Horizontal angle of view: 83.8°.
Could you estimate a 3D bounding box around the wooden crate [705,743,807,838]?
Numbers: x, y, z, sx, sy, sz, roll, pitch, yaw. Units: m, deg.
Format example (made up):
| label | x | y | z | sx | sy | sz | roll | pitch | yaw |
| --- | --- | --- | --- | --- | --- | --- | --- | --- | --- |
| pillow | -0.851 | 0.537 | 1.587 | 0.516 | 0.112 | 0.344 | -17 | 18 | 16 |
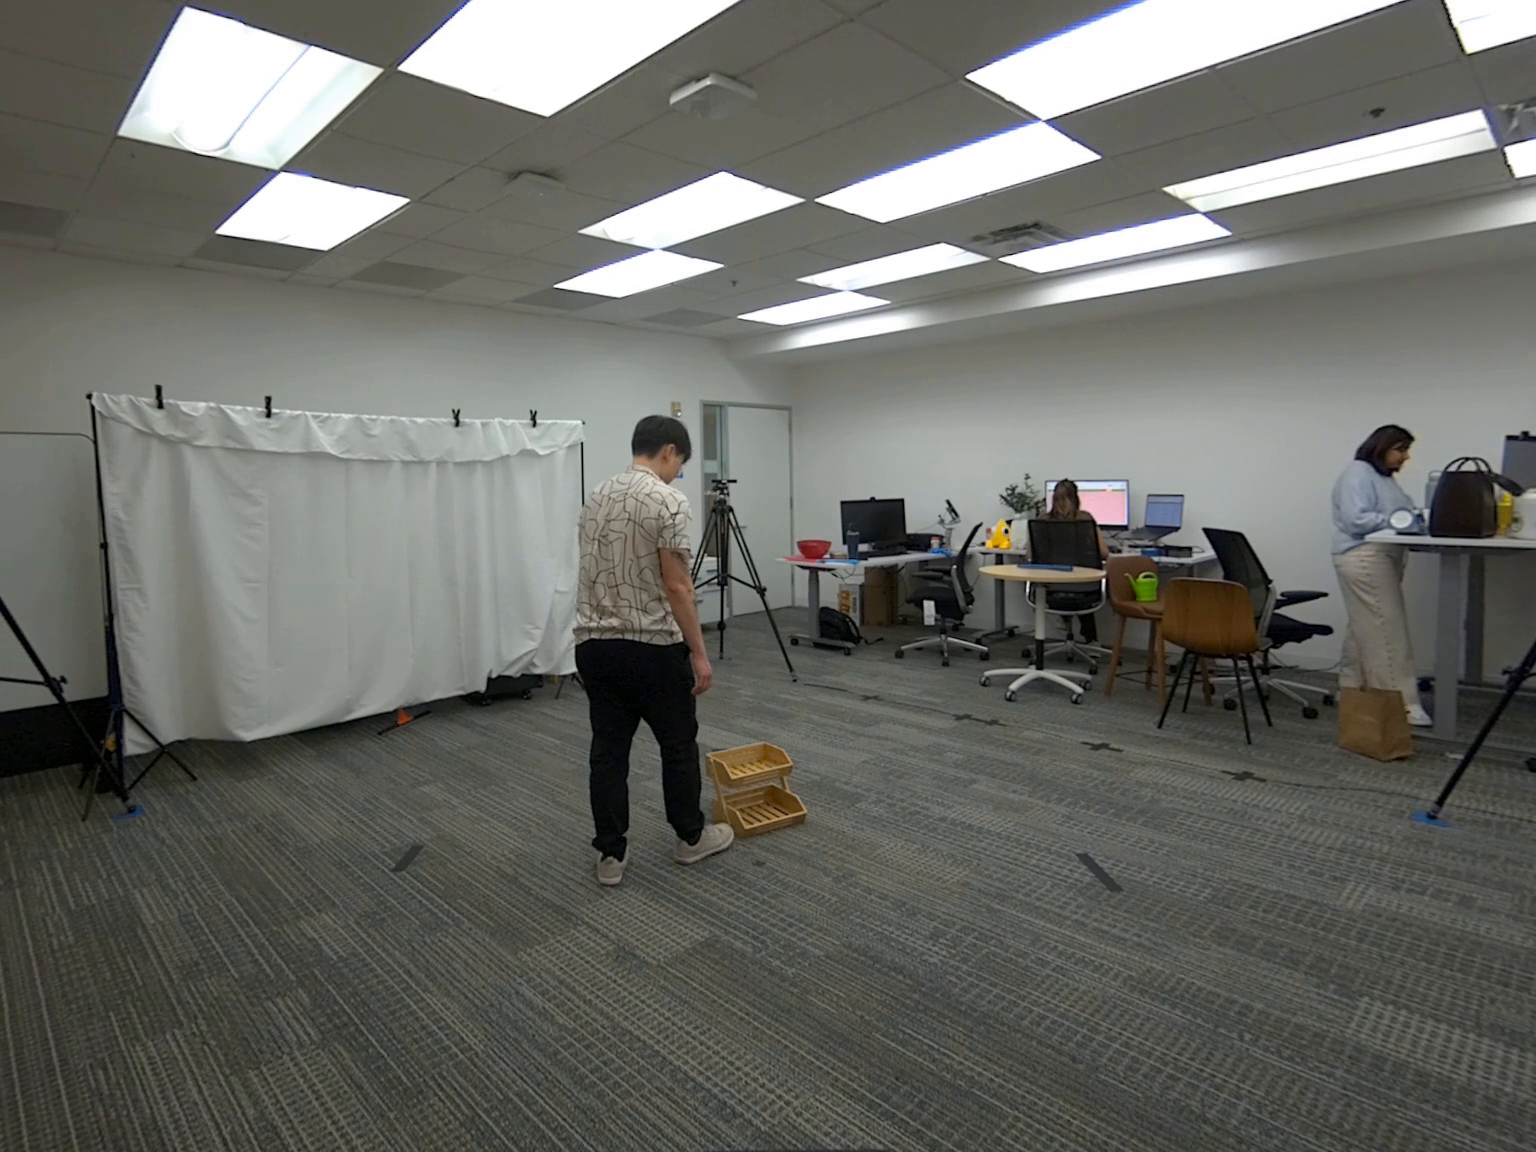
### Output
| label | x | y | z | sx | sy | sz | roll | pitch | yaw |
| --- | --- | --- | --- | --- | --- | --- | --- | --- | --- |
| wooden crate | -0.050 | 0.866 | 3.511 | 0.316 | 0.272 | 0.311 | -4 | 6 | -33 |
